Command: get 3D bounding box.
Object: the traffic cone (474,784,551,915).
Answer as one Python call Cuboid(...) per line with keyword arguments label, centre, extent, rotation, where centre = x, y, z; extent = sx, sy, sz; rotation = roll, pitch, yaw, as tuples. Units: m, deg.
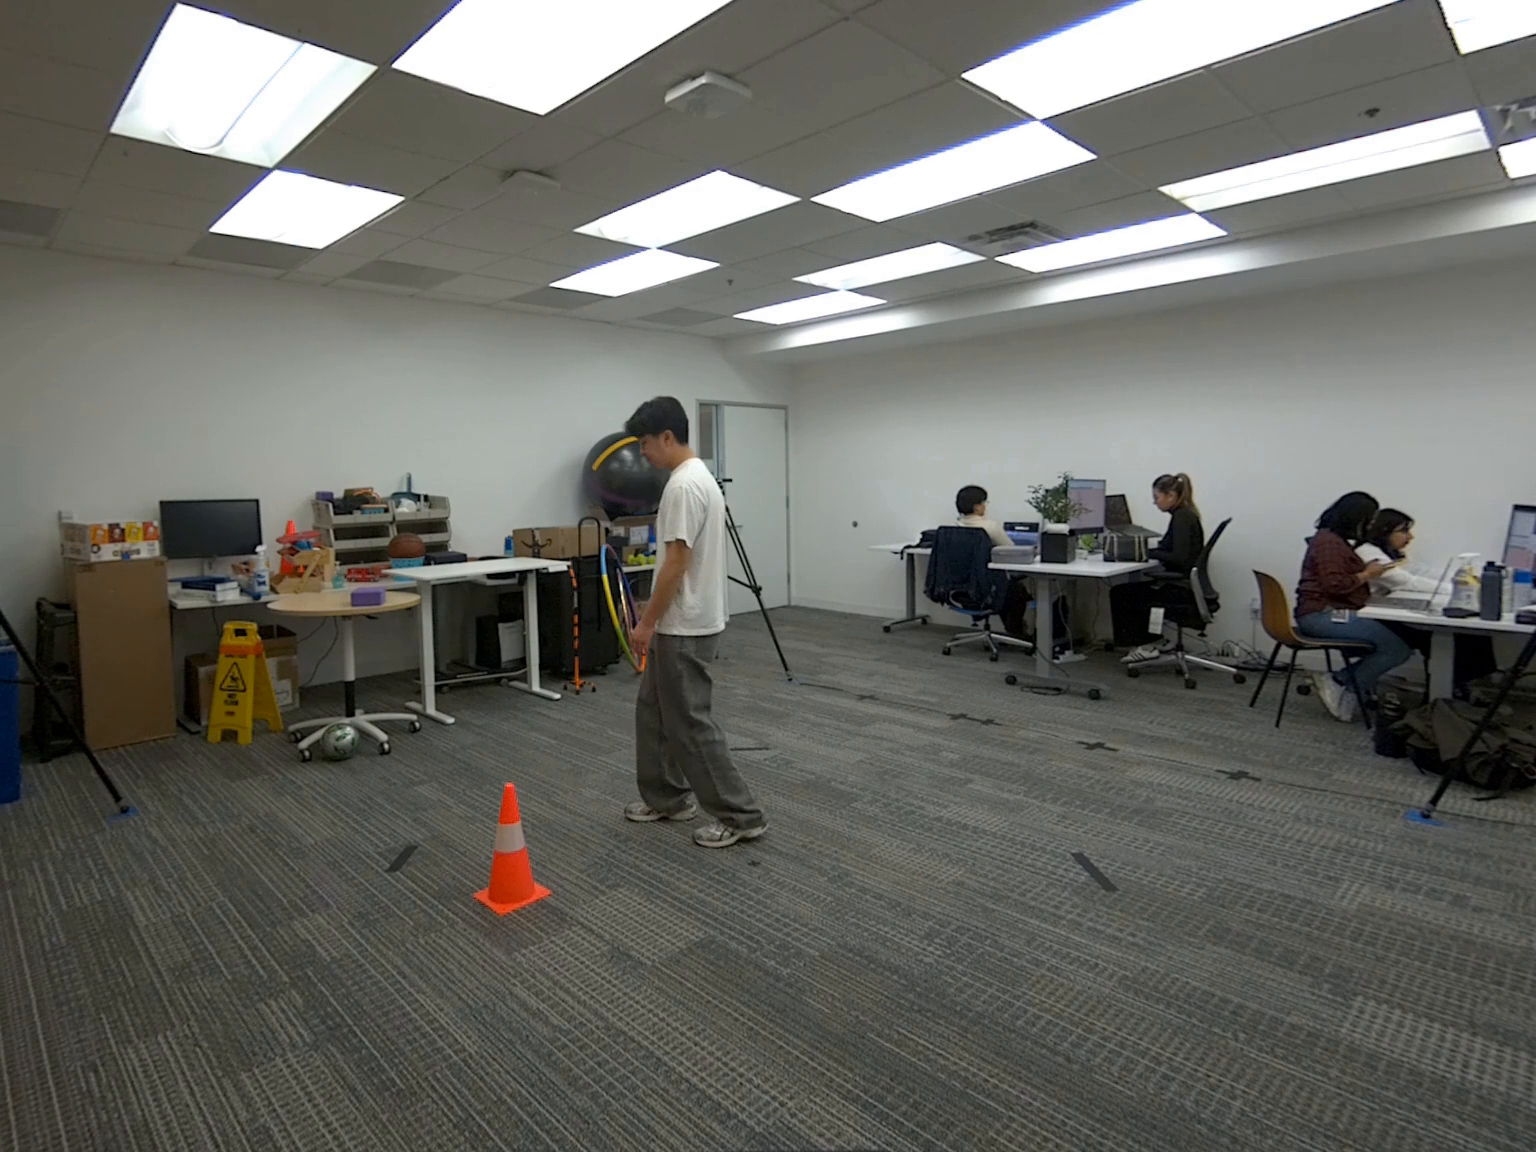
Cuboid(label="traffic cone", centre=(-0.881, 0.902, 2.903), extent=(0.199, 0.383, 0.209), rotation=(-5, 4, -41))
